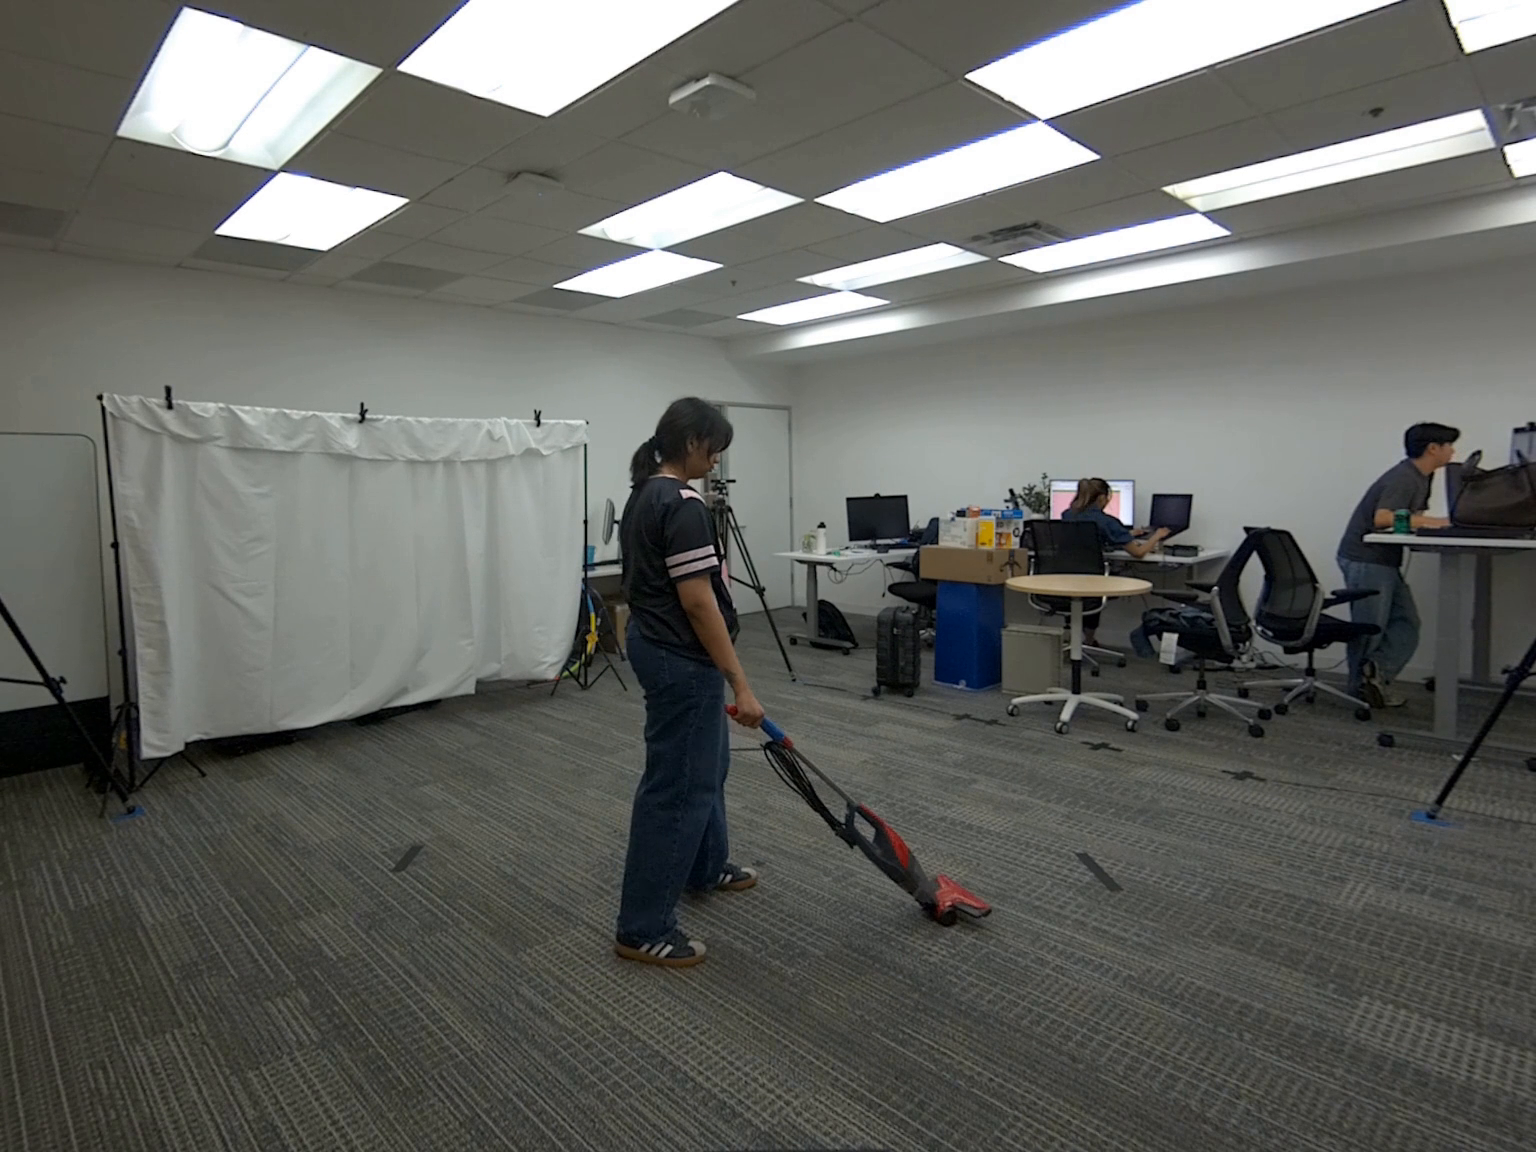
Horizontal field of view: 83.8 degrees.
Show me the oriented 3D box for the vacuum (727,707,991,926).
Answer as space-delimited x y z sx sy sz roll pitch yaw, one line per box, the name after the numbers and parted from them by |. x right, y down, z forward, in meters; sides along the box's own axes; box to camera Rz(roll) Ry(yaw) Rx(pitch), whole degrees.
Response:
0.232 0.717 2.575 1.026 0.144 0.258 42 -16 -18 | vacuum
